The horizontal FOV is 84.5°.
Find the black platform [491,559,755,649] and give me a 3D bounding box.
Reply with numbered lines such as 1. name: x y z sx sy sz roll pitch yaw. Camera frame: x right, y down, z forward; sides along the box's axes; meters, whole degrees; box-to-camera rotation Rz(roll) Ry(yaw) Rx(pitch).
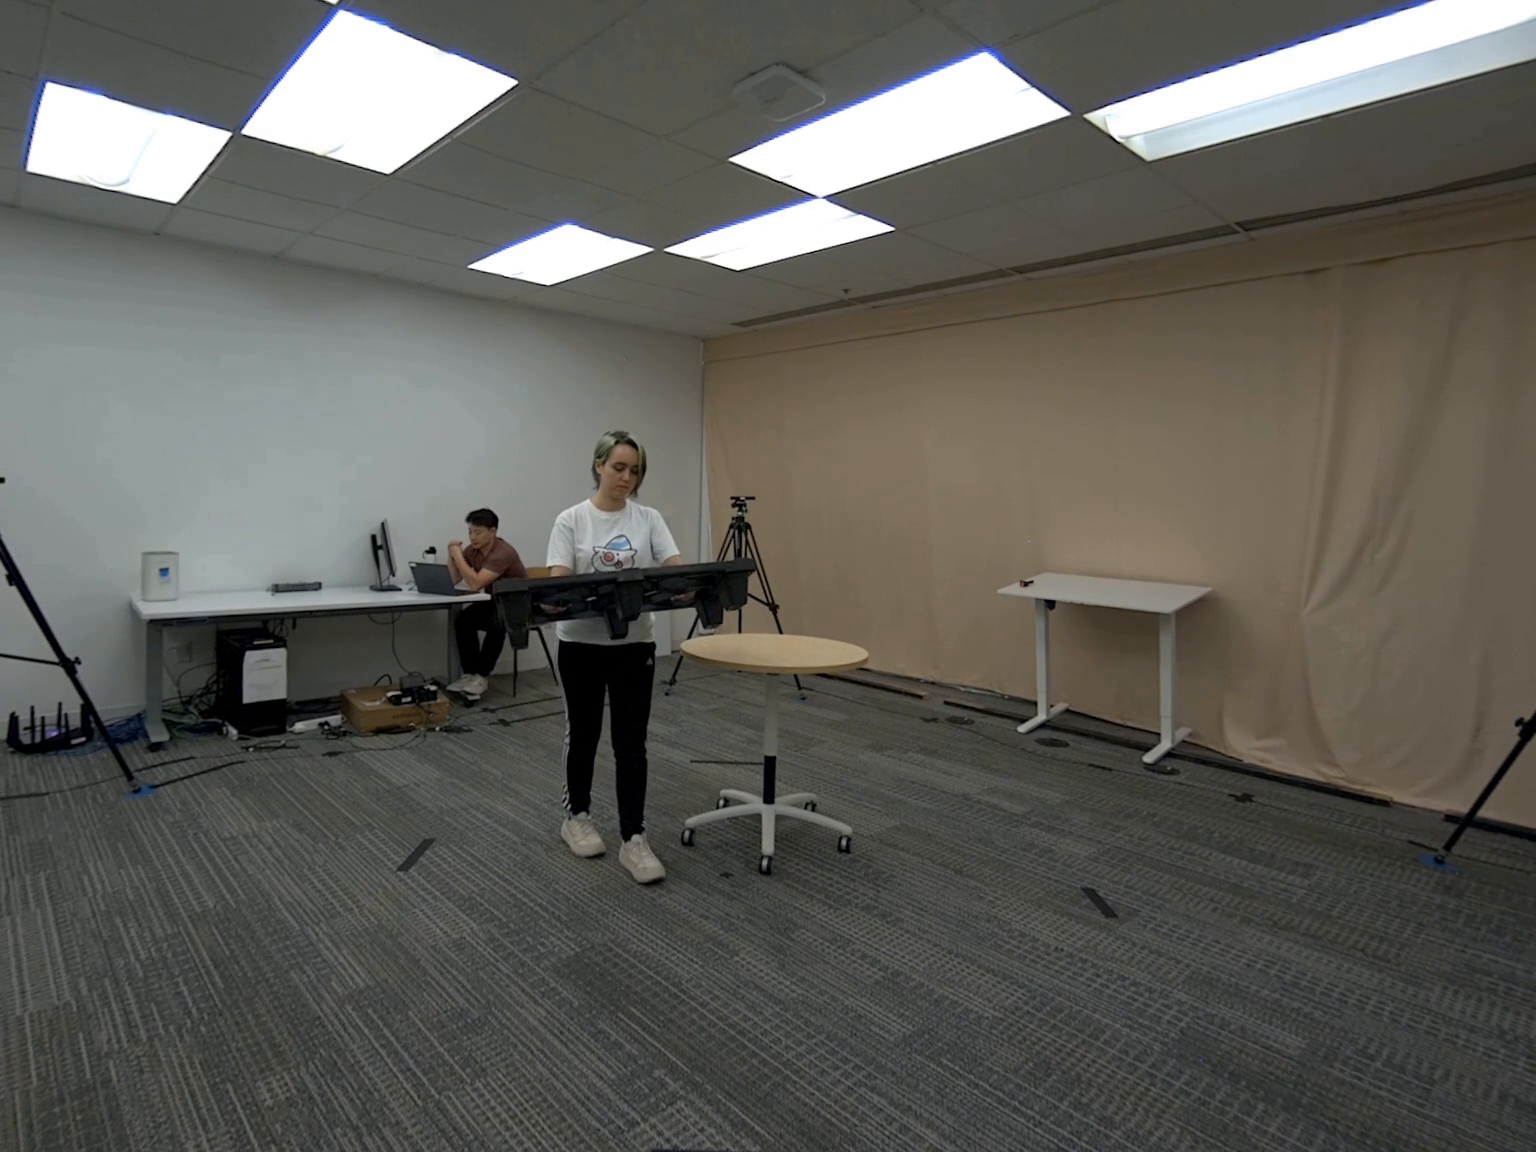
1. black platform: -0.483 0.107 2.788 0.797 0.145 0.605 -6 -11 -15
